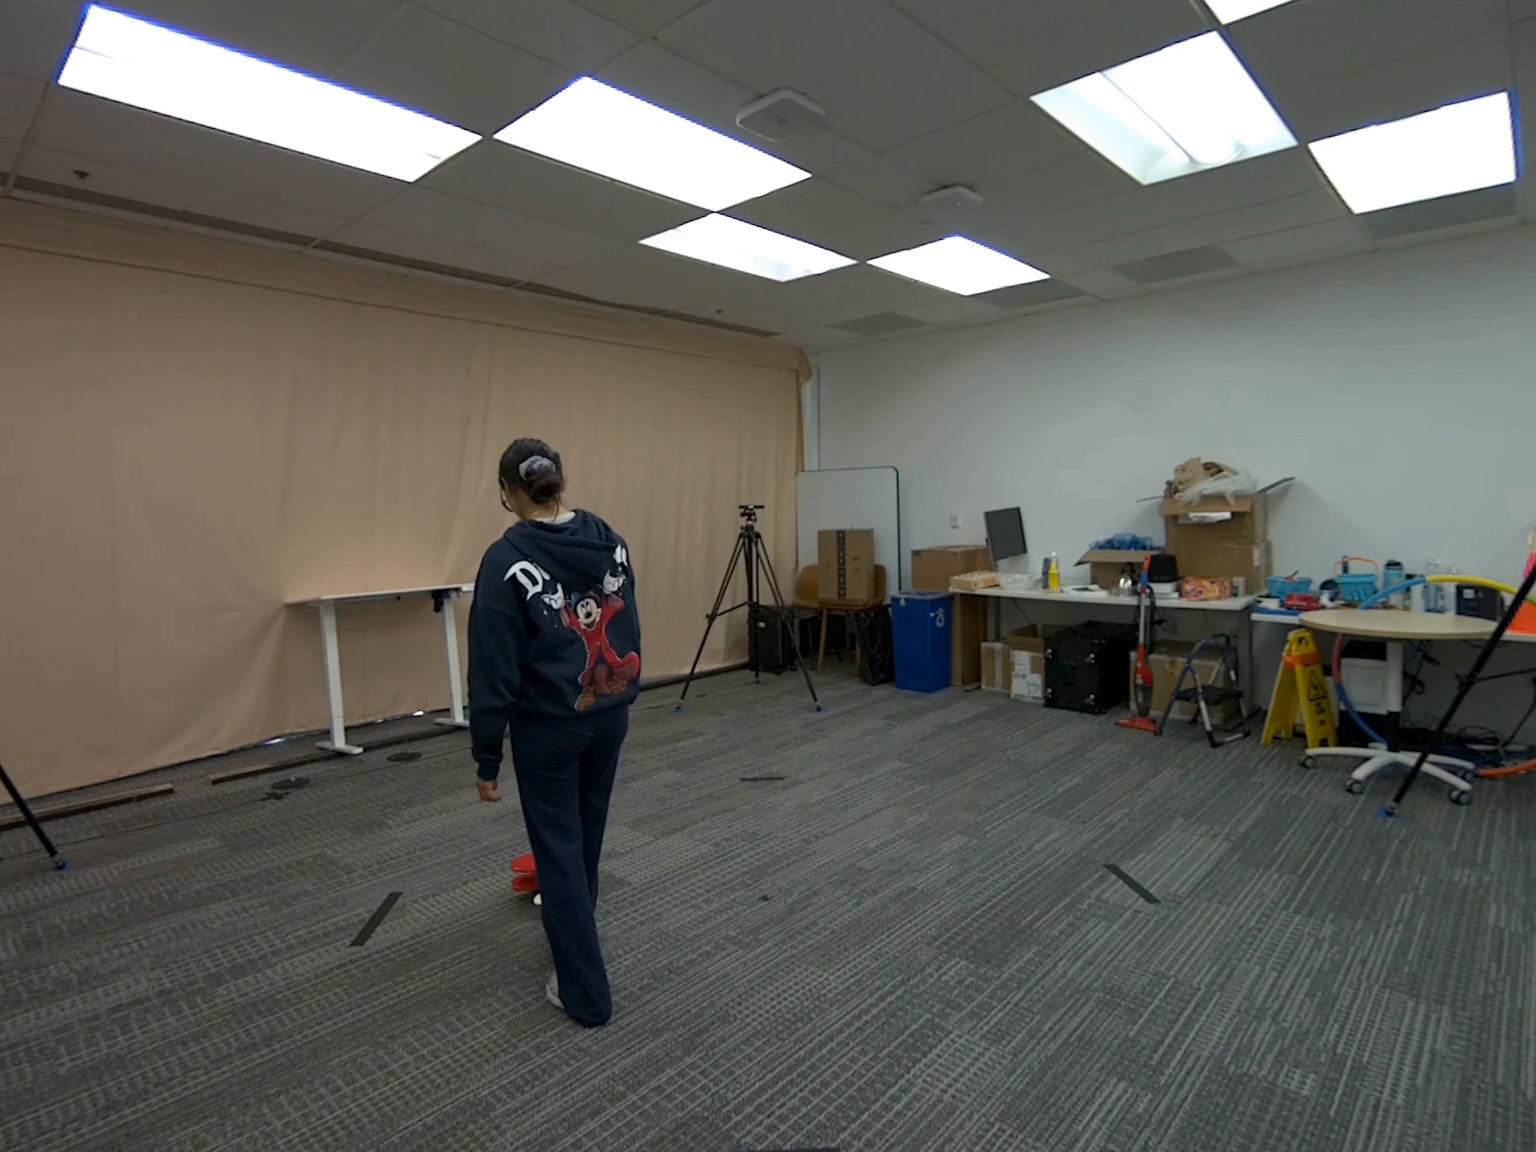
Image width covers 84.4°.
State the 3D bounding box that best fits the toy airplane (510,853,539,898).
[{"bbox_3d":[-0.765,1.083,3.000,0.267,0.156,0.243,0,4,44],"label":"toy airplane"}]
